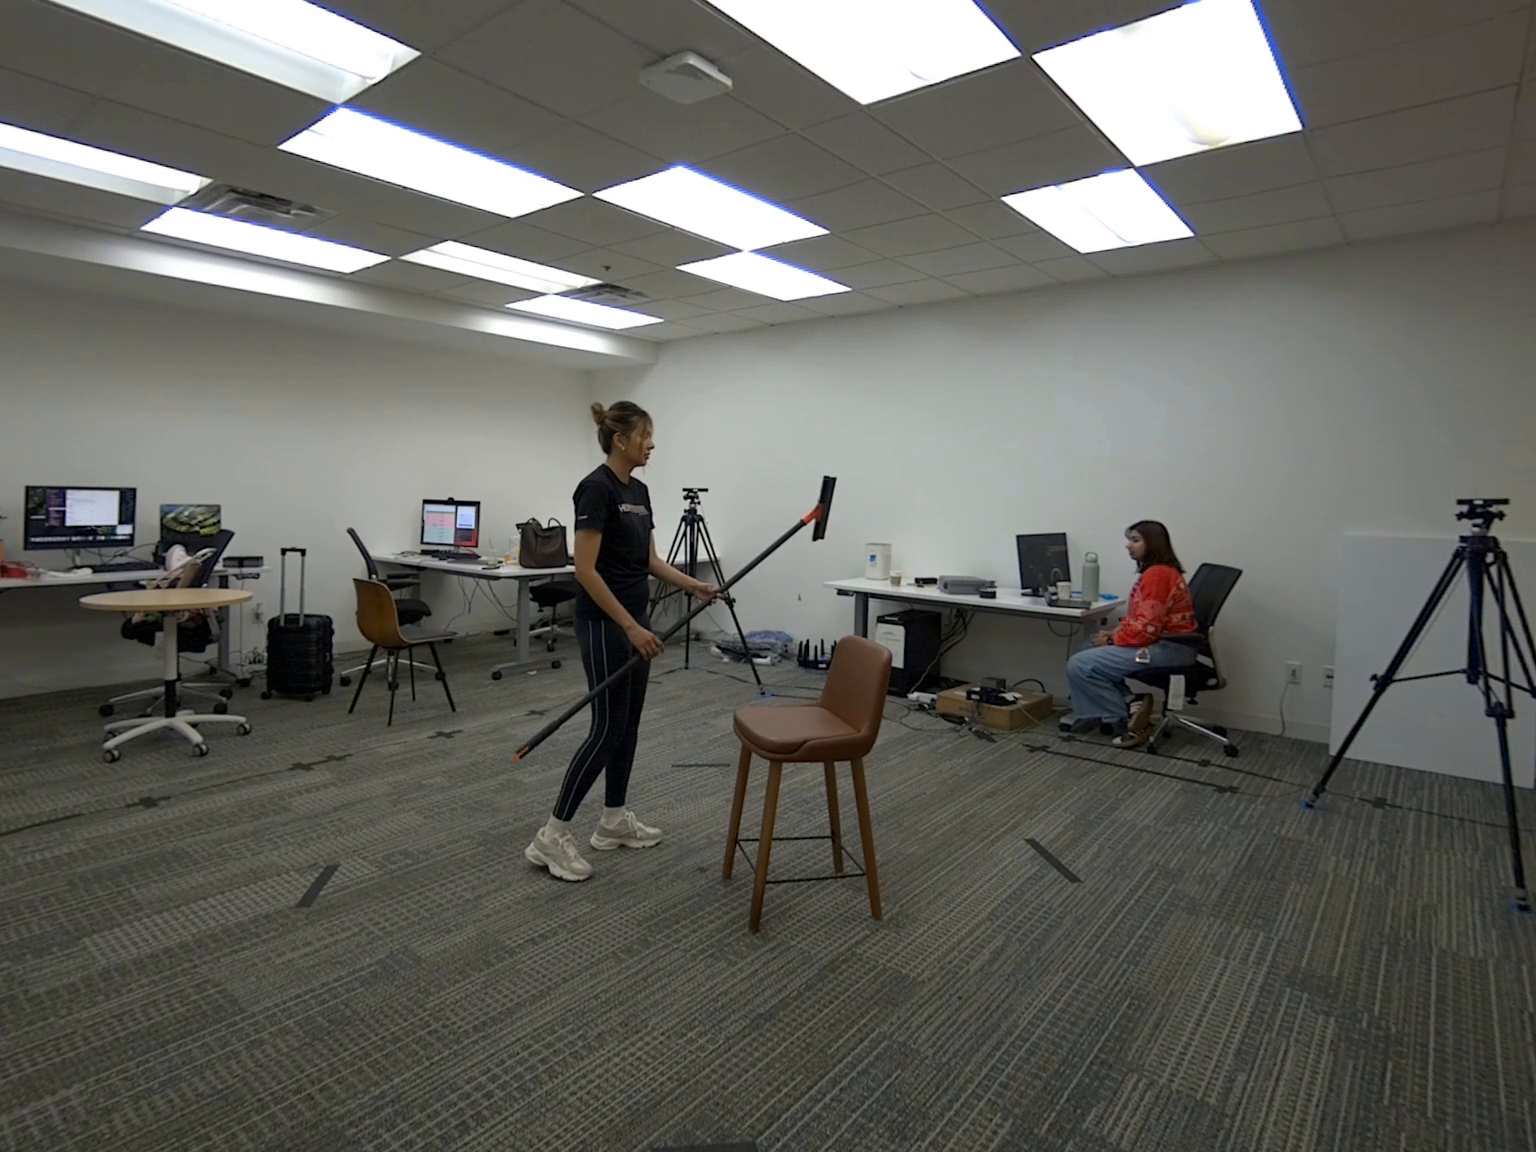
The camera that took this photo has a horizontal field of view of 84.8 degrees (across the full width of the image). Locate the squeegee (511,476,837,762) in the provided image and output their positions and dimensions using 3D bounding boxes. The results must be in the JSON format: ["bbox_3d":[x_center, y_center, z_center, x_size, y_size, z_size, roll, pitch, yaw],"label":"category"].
[{"bbox_3d":[-0.323,0.179,3.105,1.529,0.425,0.055,-39,64,-23],"label":"squeegee"}]
